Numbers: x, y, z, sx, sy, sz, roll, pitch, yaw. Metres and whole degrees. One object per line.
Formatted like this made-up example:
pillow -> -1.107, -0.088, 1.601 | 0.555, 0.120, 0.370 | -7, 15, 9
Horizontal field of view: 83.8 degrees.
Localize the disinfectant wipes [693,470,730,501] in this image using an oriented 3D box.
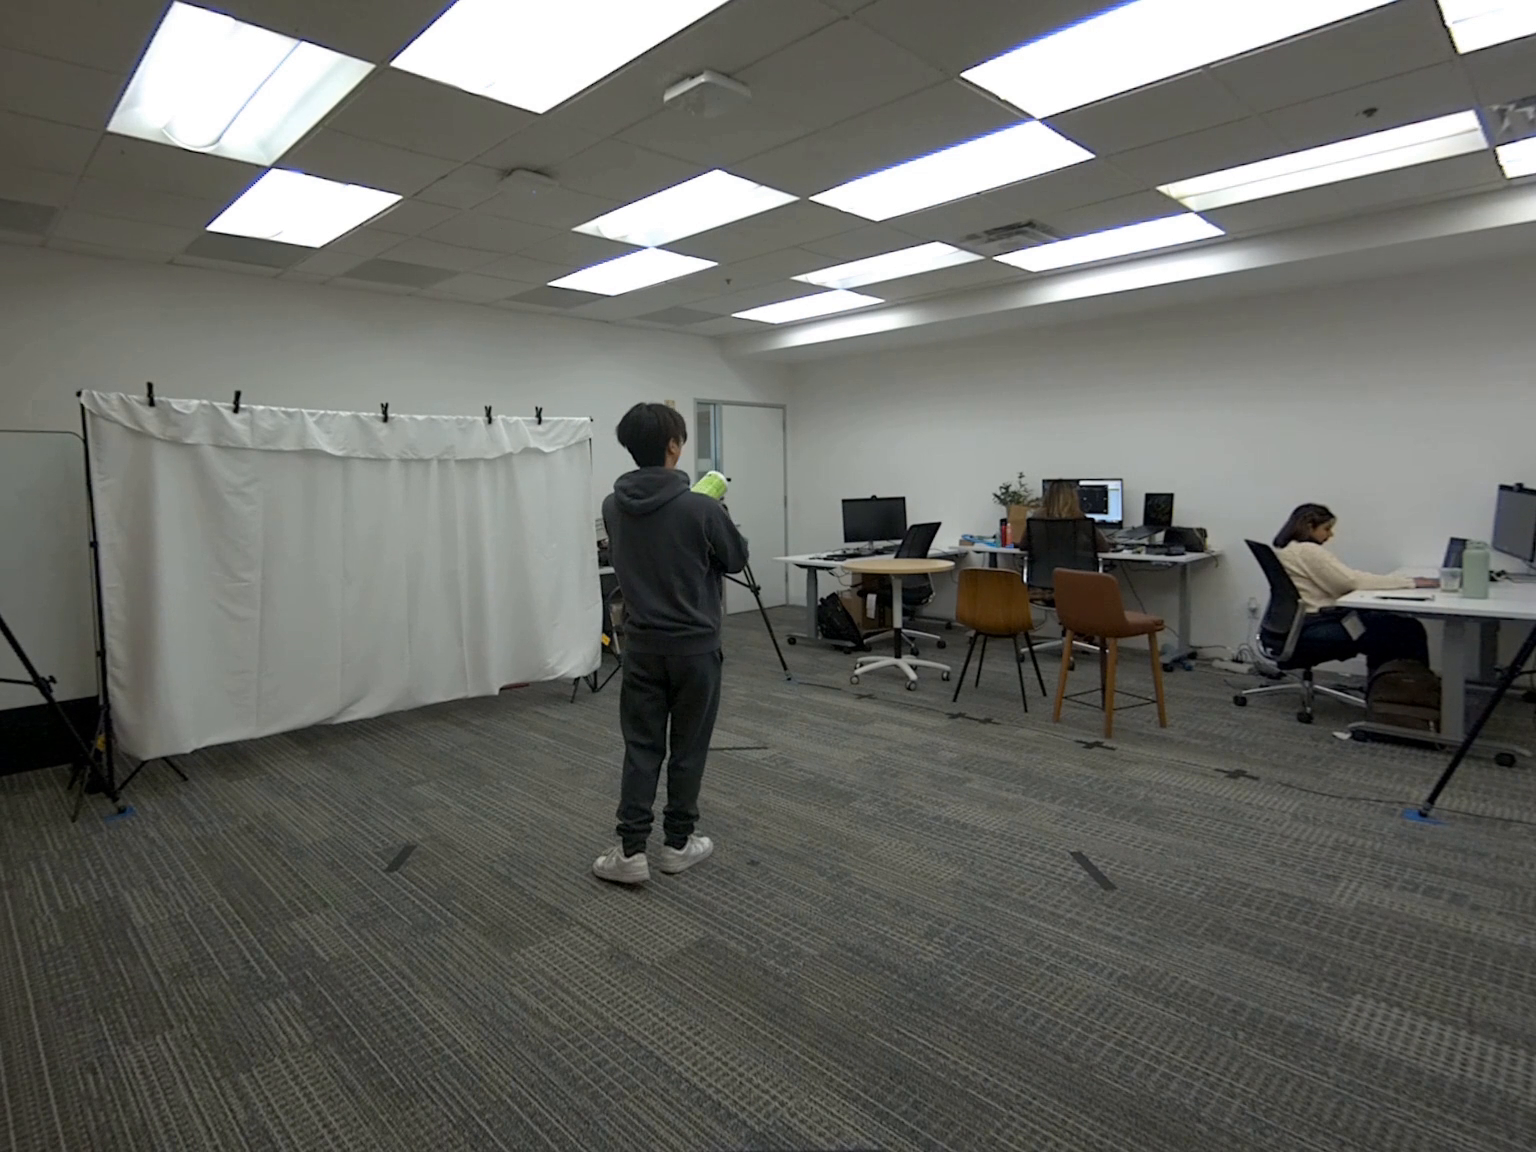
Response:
disinfectant wipes -> -0.243, -0.314, 3.358 | 0.121, 0.114, 0.218 | 2, 36, 32
